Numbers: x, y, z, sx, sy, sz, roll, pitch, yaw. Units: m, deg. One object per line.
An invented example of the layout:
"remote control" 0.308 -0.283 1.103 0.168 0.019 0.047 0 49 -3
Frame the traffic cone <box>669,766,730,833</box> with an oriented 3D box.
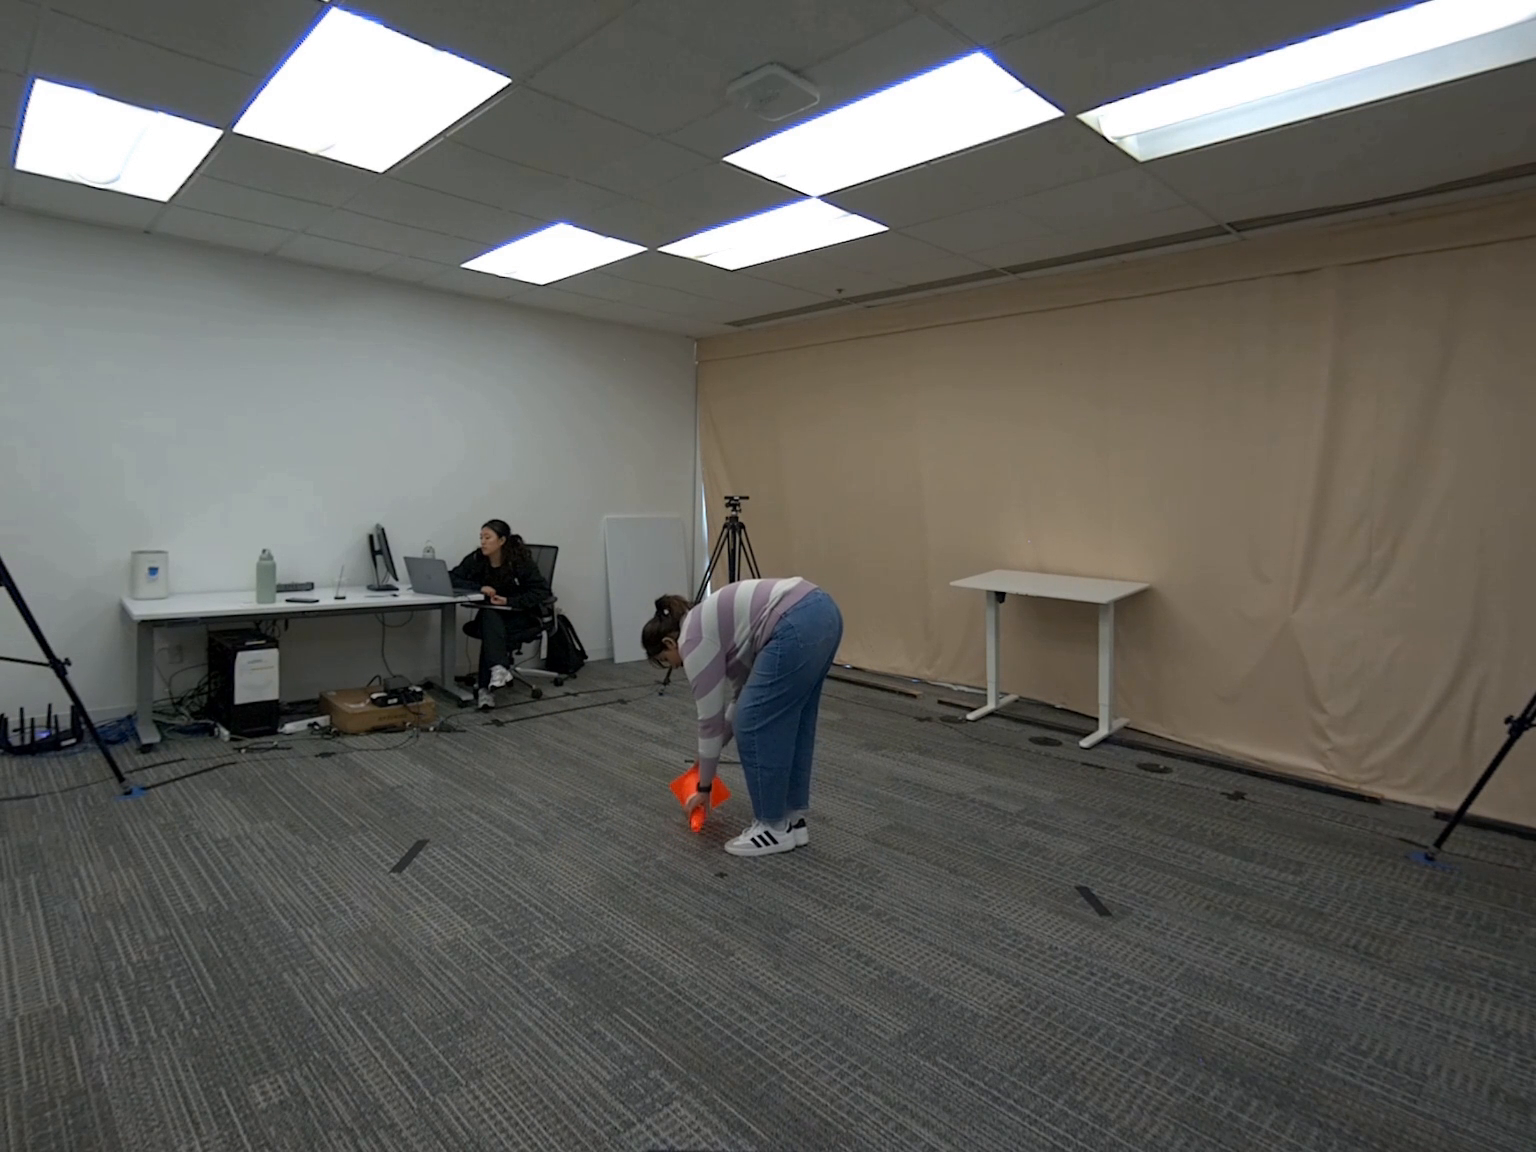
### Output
"traffic cone" -0.292 0.963 3.435 0.205 0.201 0.387 -34 12 8
